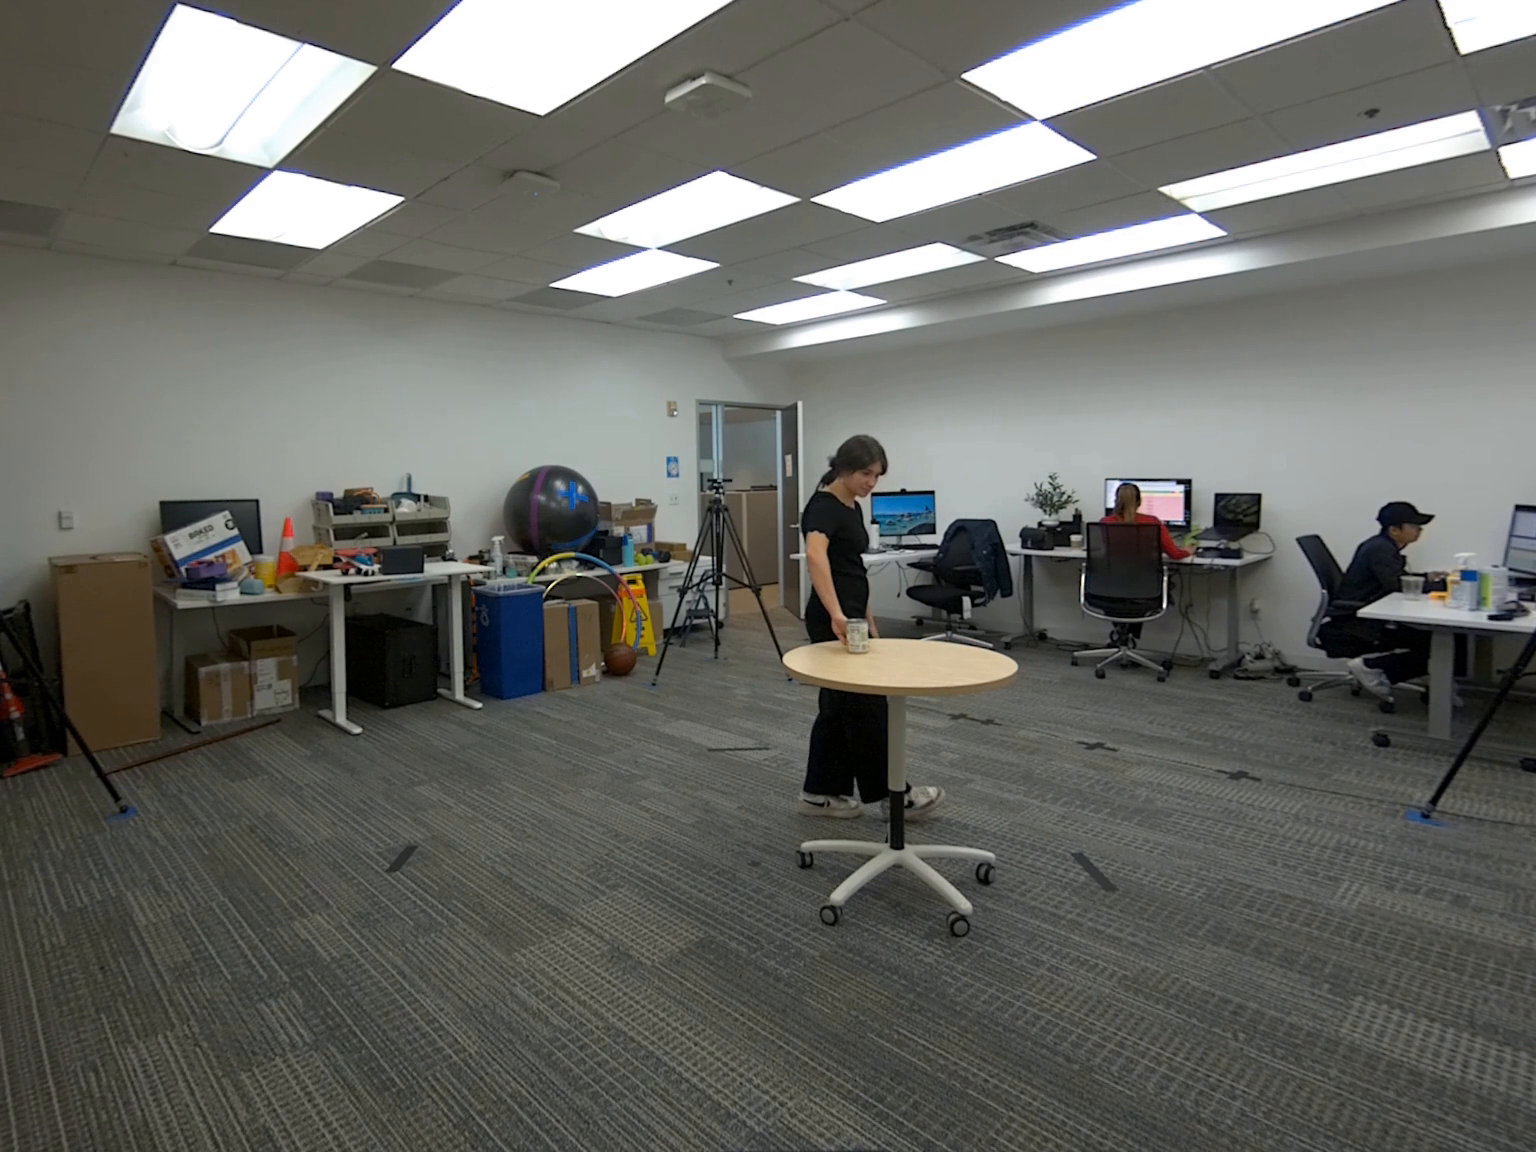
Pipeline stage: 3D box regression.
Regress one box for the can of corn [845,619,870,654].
[{"bbox_3d":[0.309,0.216,2.989,0.074,0.111,0.074,0,3,-2],"label":"can of corn"}]
